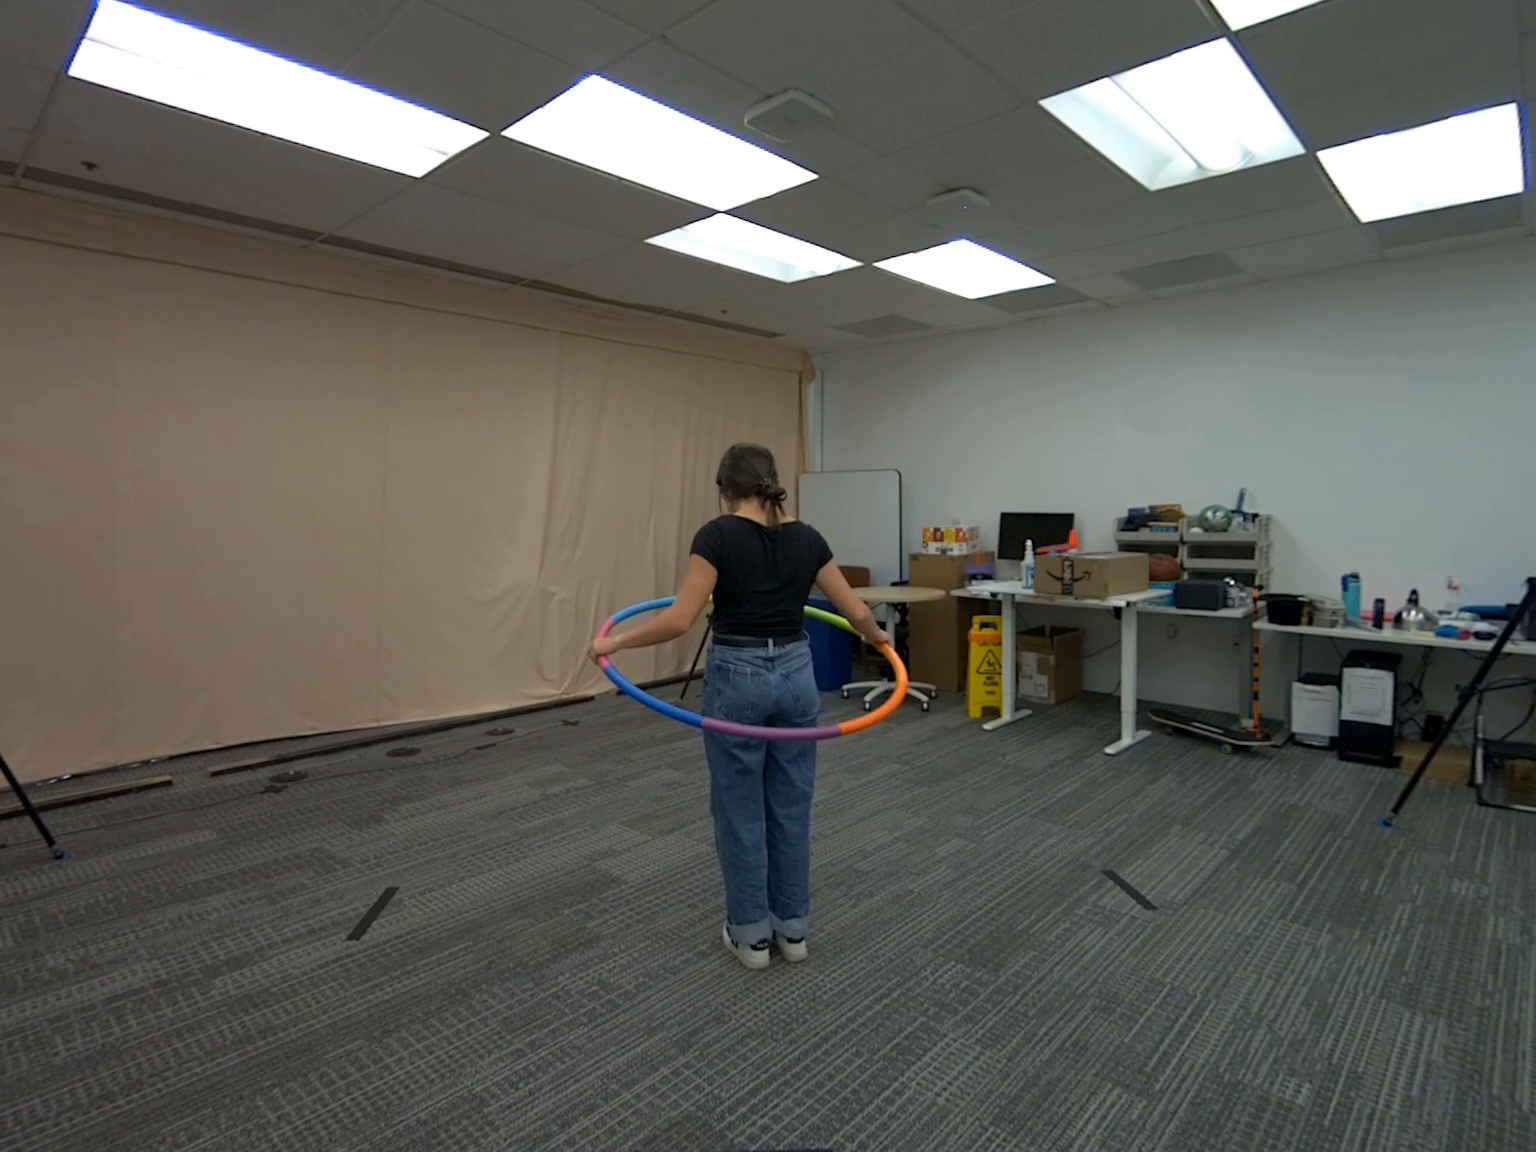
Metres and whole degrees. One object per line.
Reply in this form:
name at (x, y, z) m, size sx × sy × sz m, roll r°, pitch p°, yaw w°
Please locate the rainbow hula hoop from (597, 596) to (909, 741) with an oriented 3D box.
rainbow hula hoop at (-0.050, 0.248, 2.660) m, size 0.976 × 0.035 × 0.991 m, roll 4°, pitch 19°, yaw -3°
